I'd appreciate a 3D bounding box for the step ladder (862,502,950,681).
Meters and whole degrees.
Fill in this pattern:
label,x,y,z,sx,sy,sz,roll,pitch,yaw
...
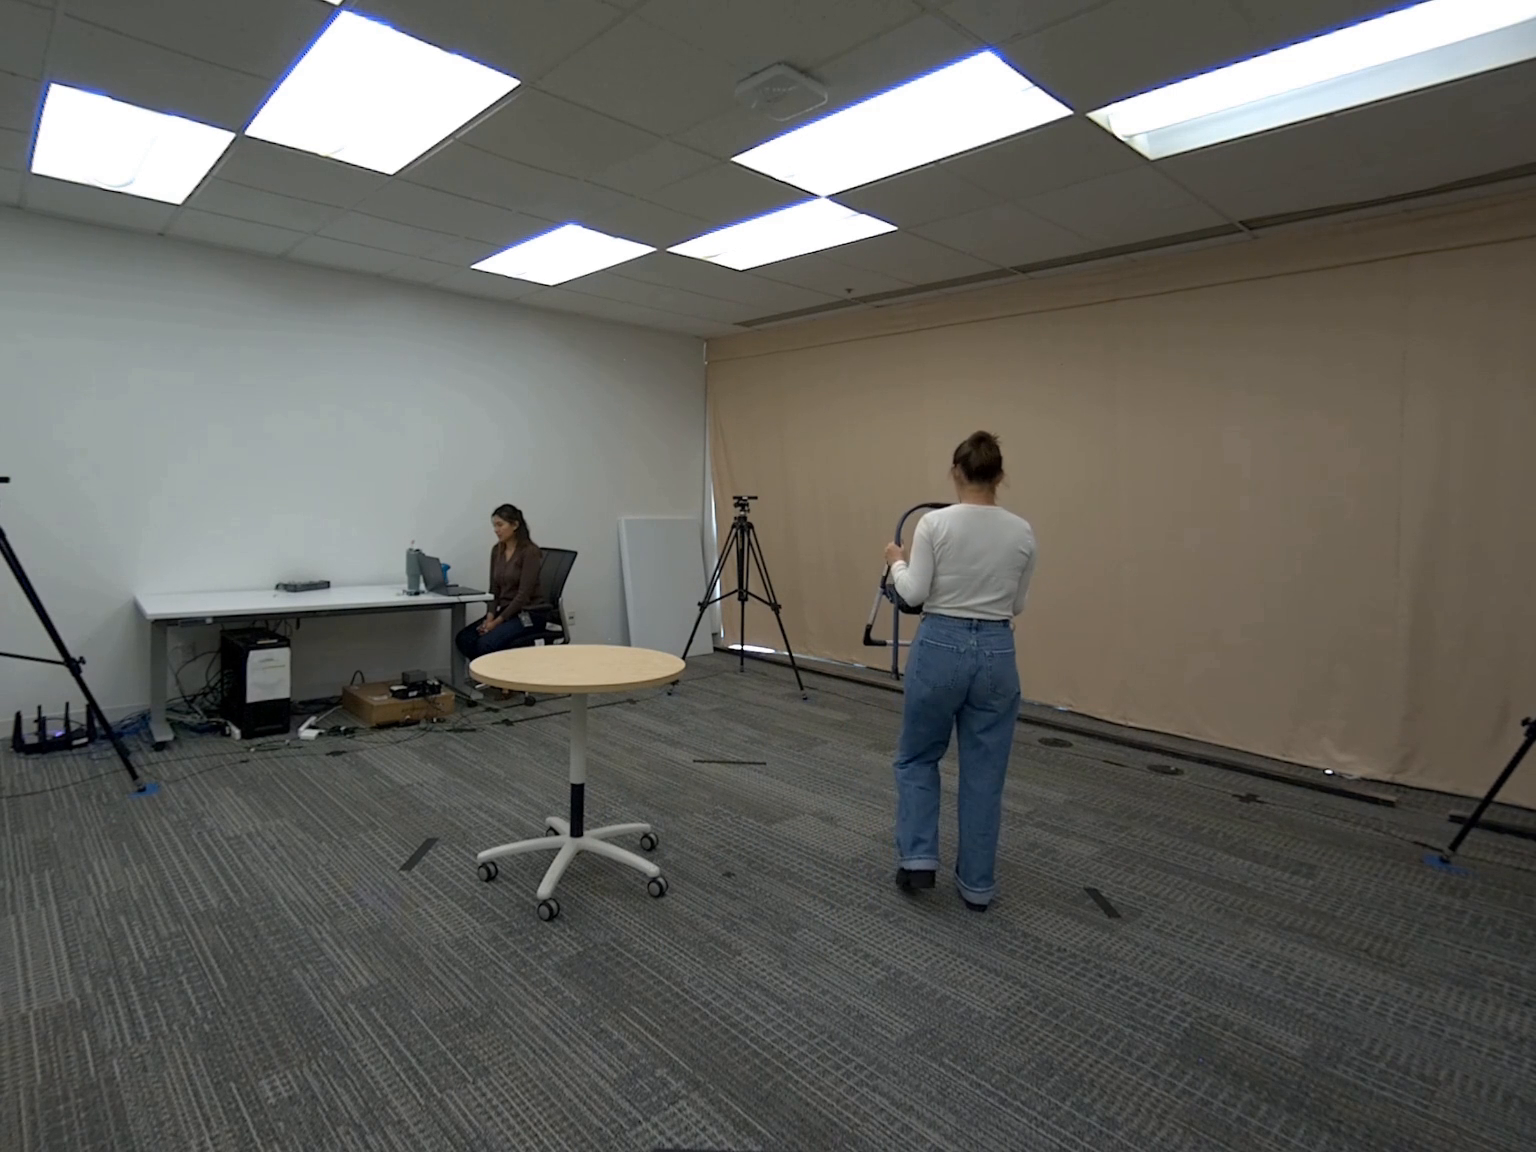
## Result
label,x,y,z,sx,sy,sz,roll,pitch,yaw
step ladder,0.648,0.044,3.136,0.425,0.601,0.356,5,13,-14
